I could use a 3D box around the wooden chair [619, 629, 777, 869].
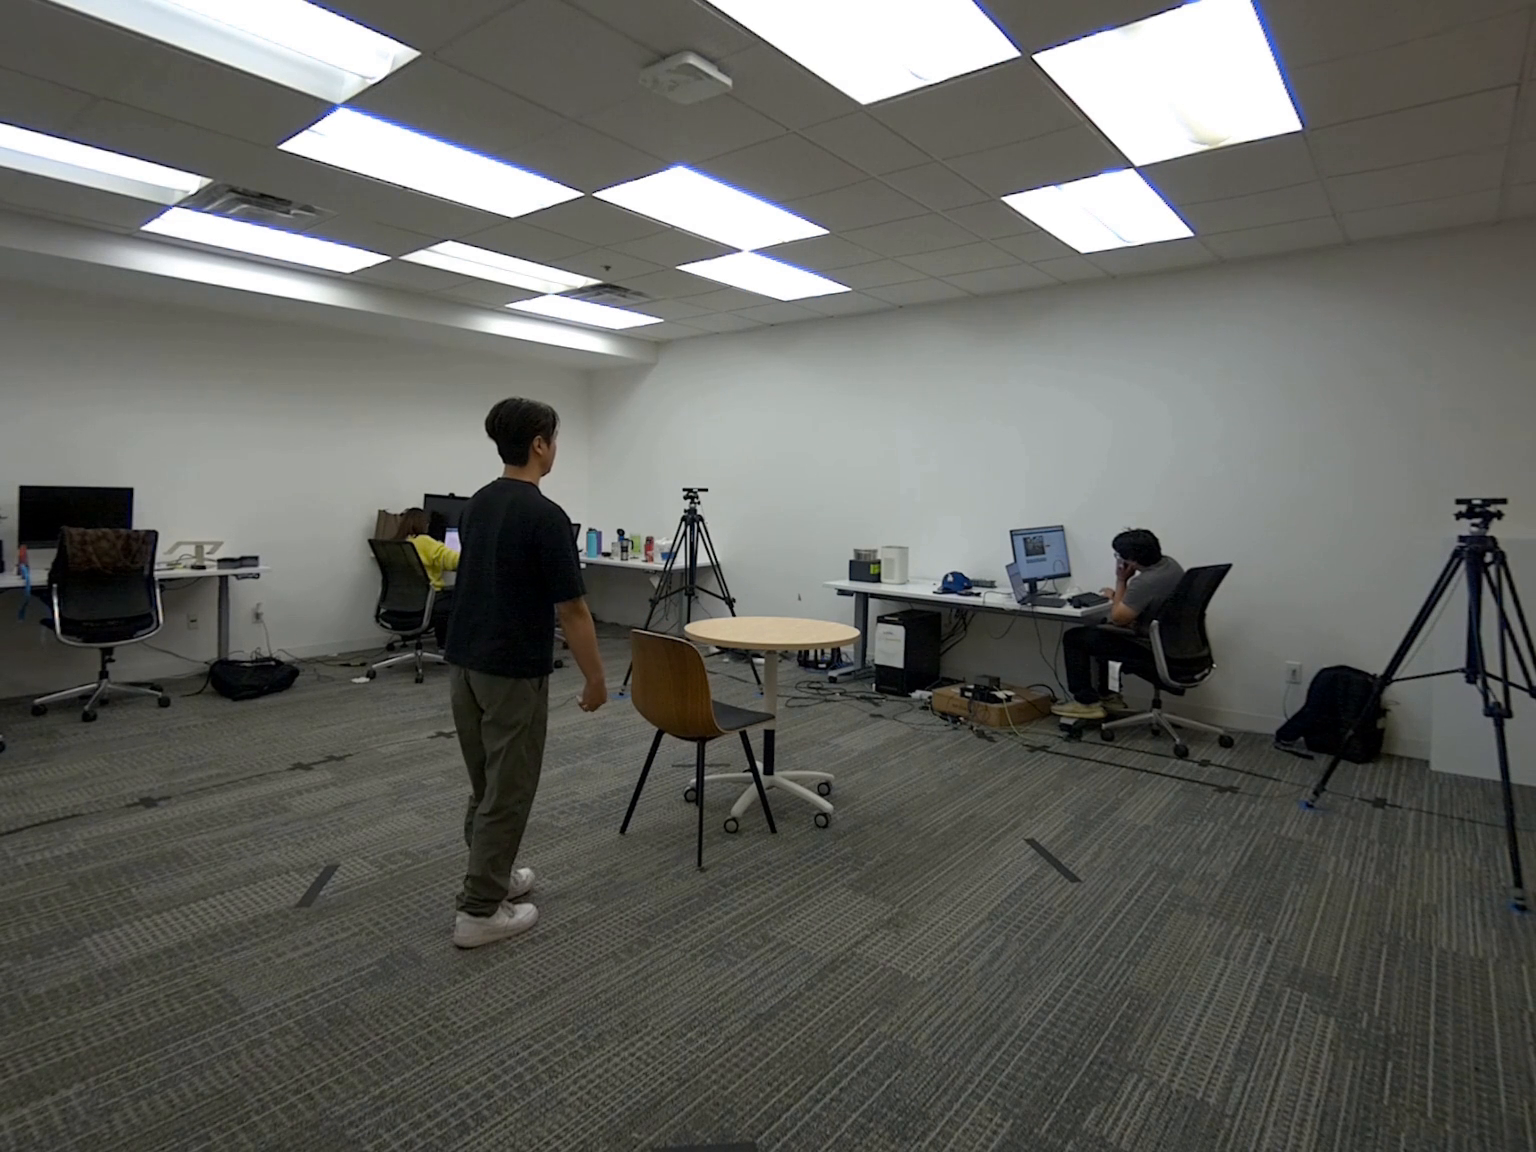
[{"bbox_3d":[-0.278,0.613,3.411,0.494,0.872,0.509,4,8,41],"label":"wooden chair"}]
